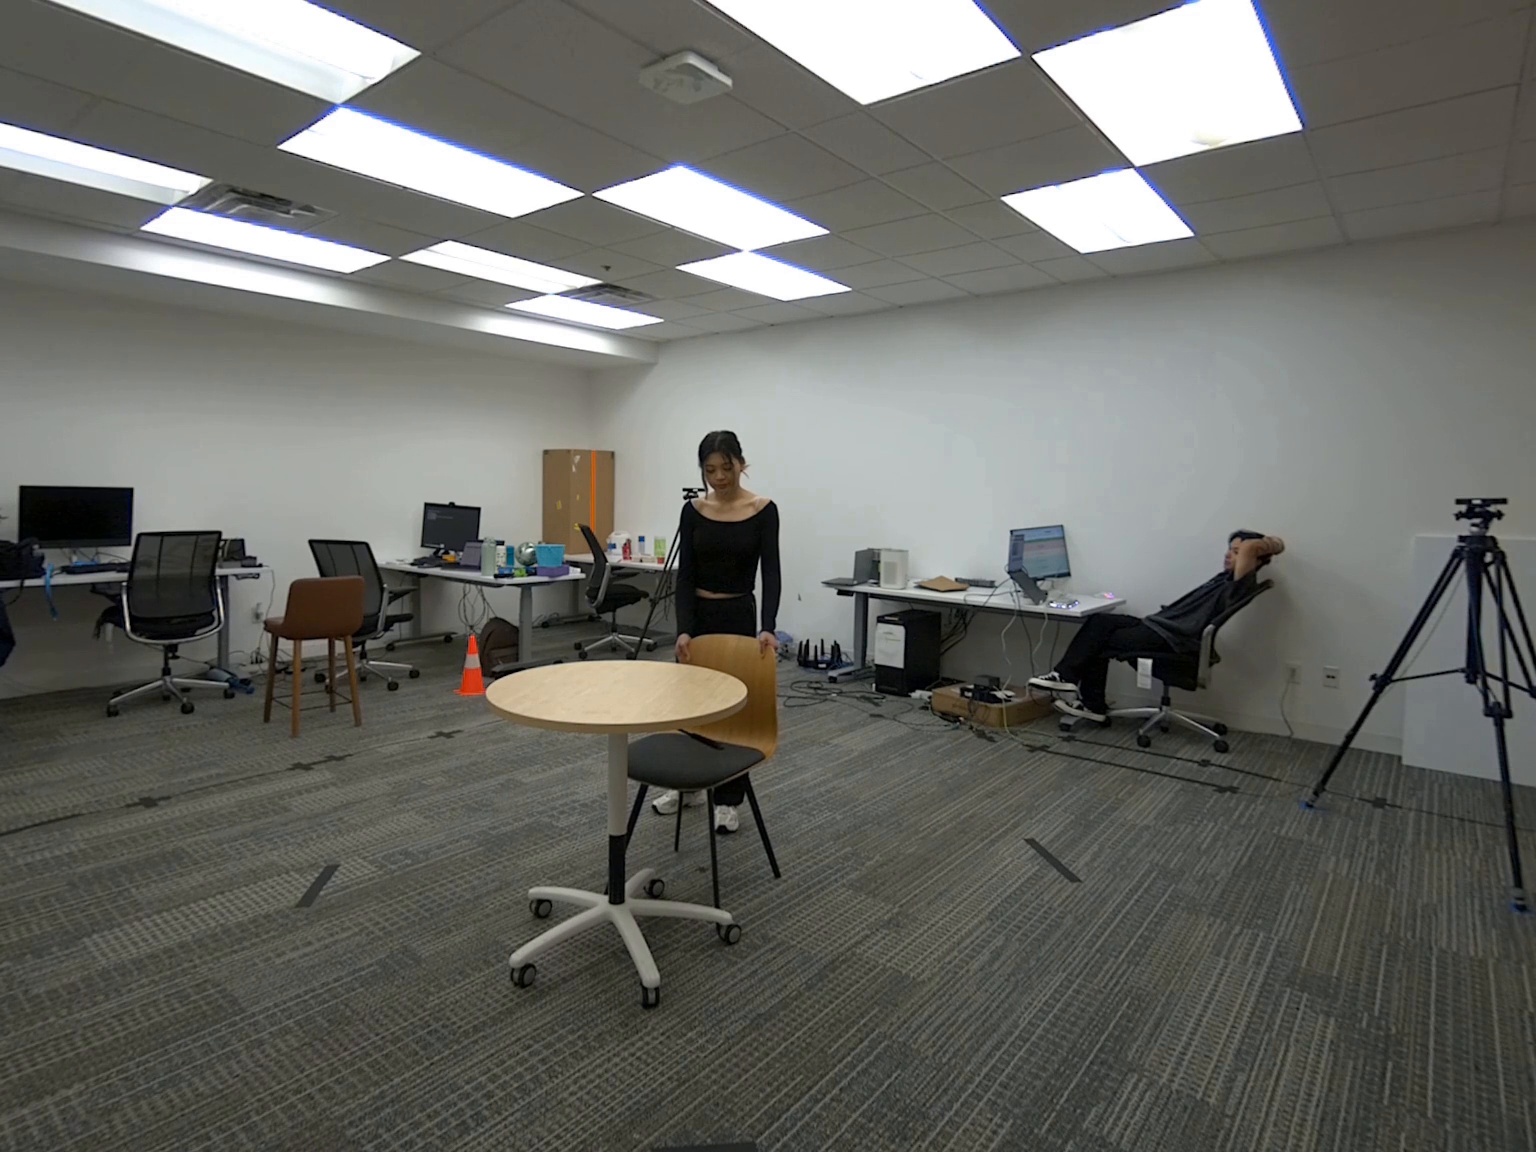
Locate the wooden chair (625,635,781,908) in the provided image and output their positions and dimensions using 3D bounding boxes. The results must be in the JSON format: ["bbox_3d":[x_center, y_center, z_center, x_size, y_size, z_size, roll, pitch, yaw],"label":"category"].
[{"bbox_3d":[-0.253,0.654,2.942,0.492,0.878,0.508,3,0,28],"label":"wooden chair"}]
